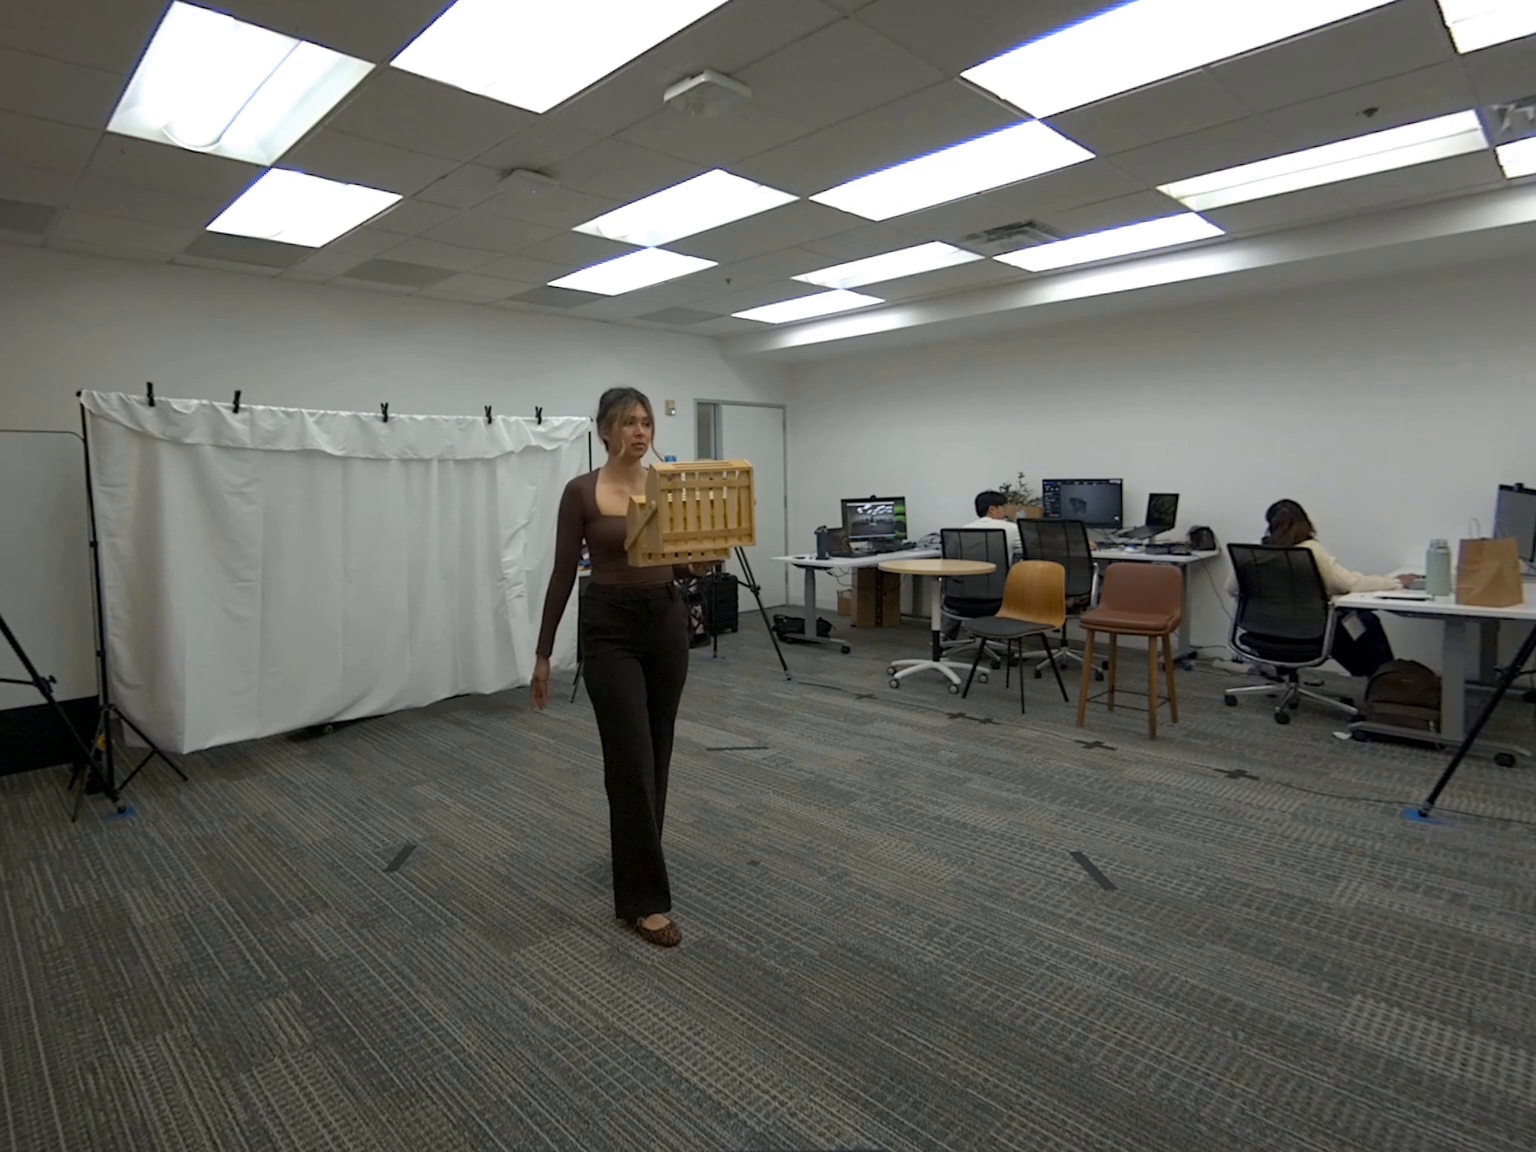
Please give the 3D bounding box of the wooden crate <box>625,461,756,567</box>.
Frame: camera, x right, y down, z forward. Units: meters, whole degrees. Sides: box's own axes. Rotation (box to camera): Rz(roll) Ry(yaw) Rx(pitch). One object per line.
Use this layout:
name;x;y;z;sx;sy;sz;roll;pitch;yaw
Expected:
wooden crate;-0.229;-0.189;2.531;0.318;0.301;0.280;-5;6;-27
